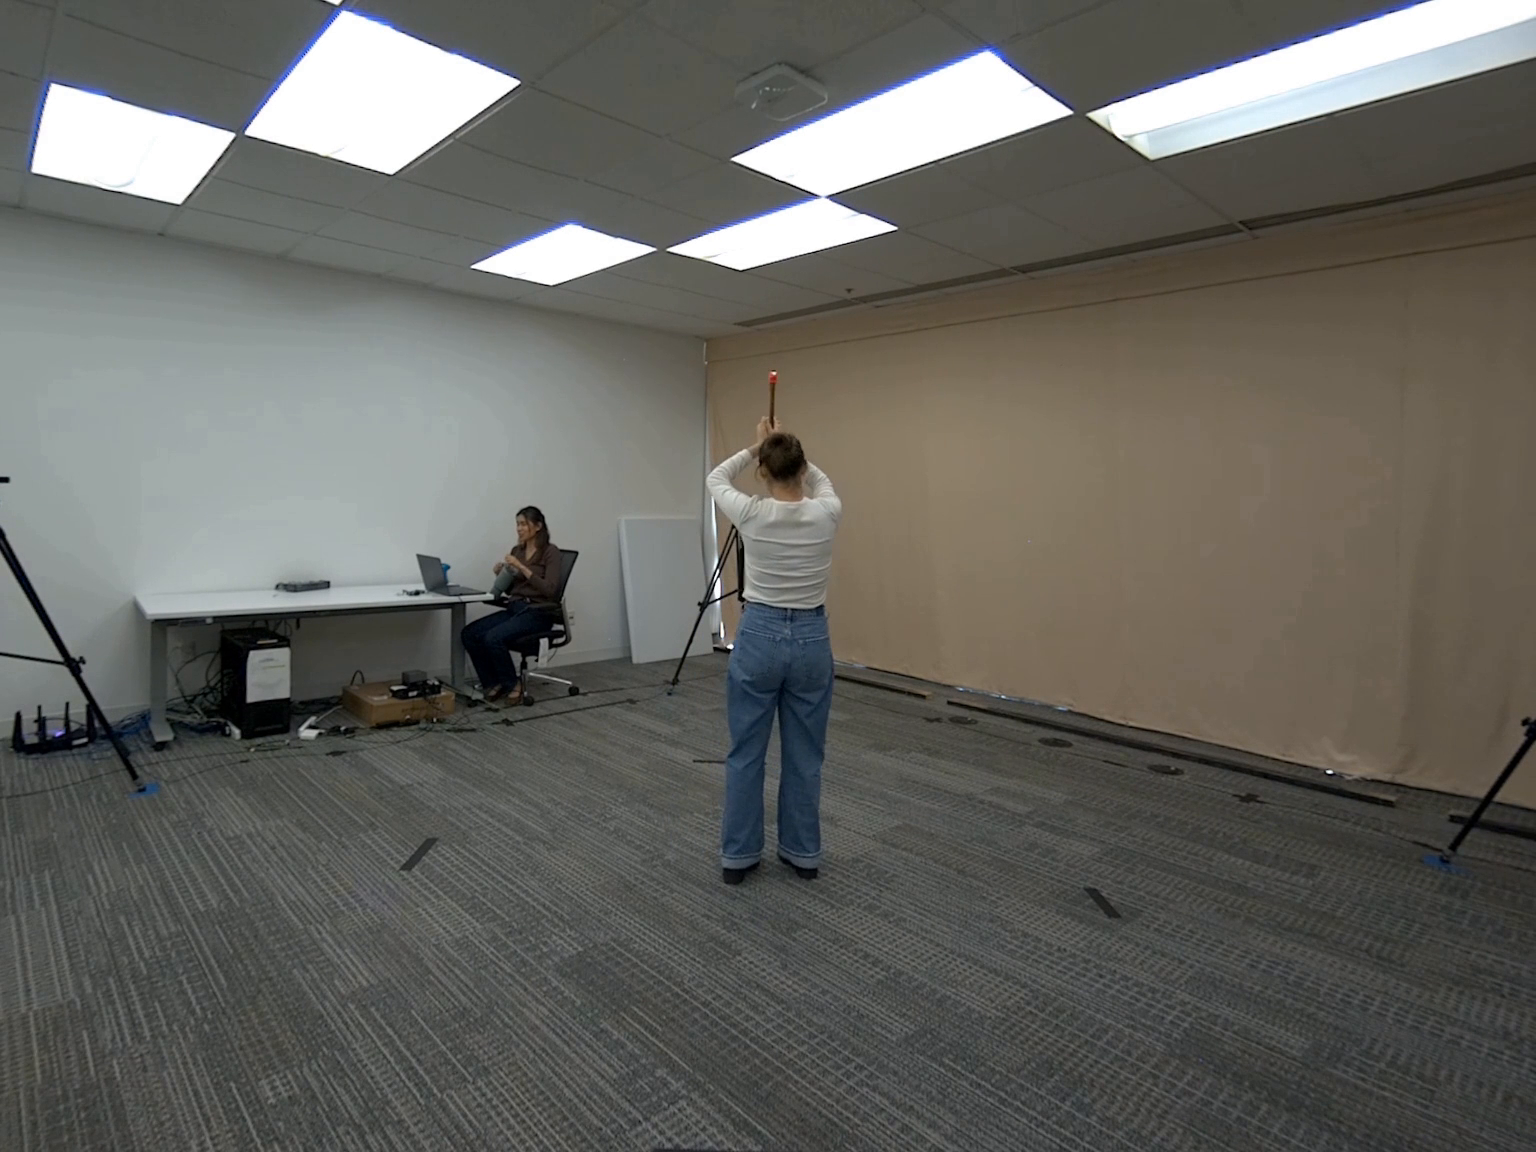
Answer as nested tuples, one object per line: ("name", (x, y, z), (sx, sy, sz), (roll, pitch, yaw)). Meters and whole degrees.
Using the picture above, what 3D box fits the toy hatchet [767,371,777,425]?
("toy hatchet", (0.004, -0.662, 3.237), (0.029, 0.266, 0.133), (2, 21, -7))
